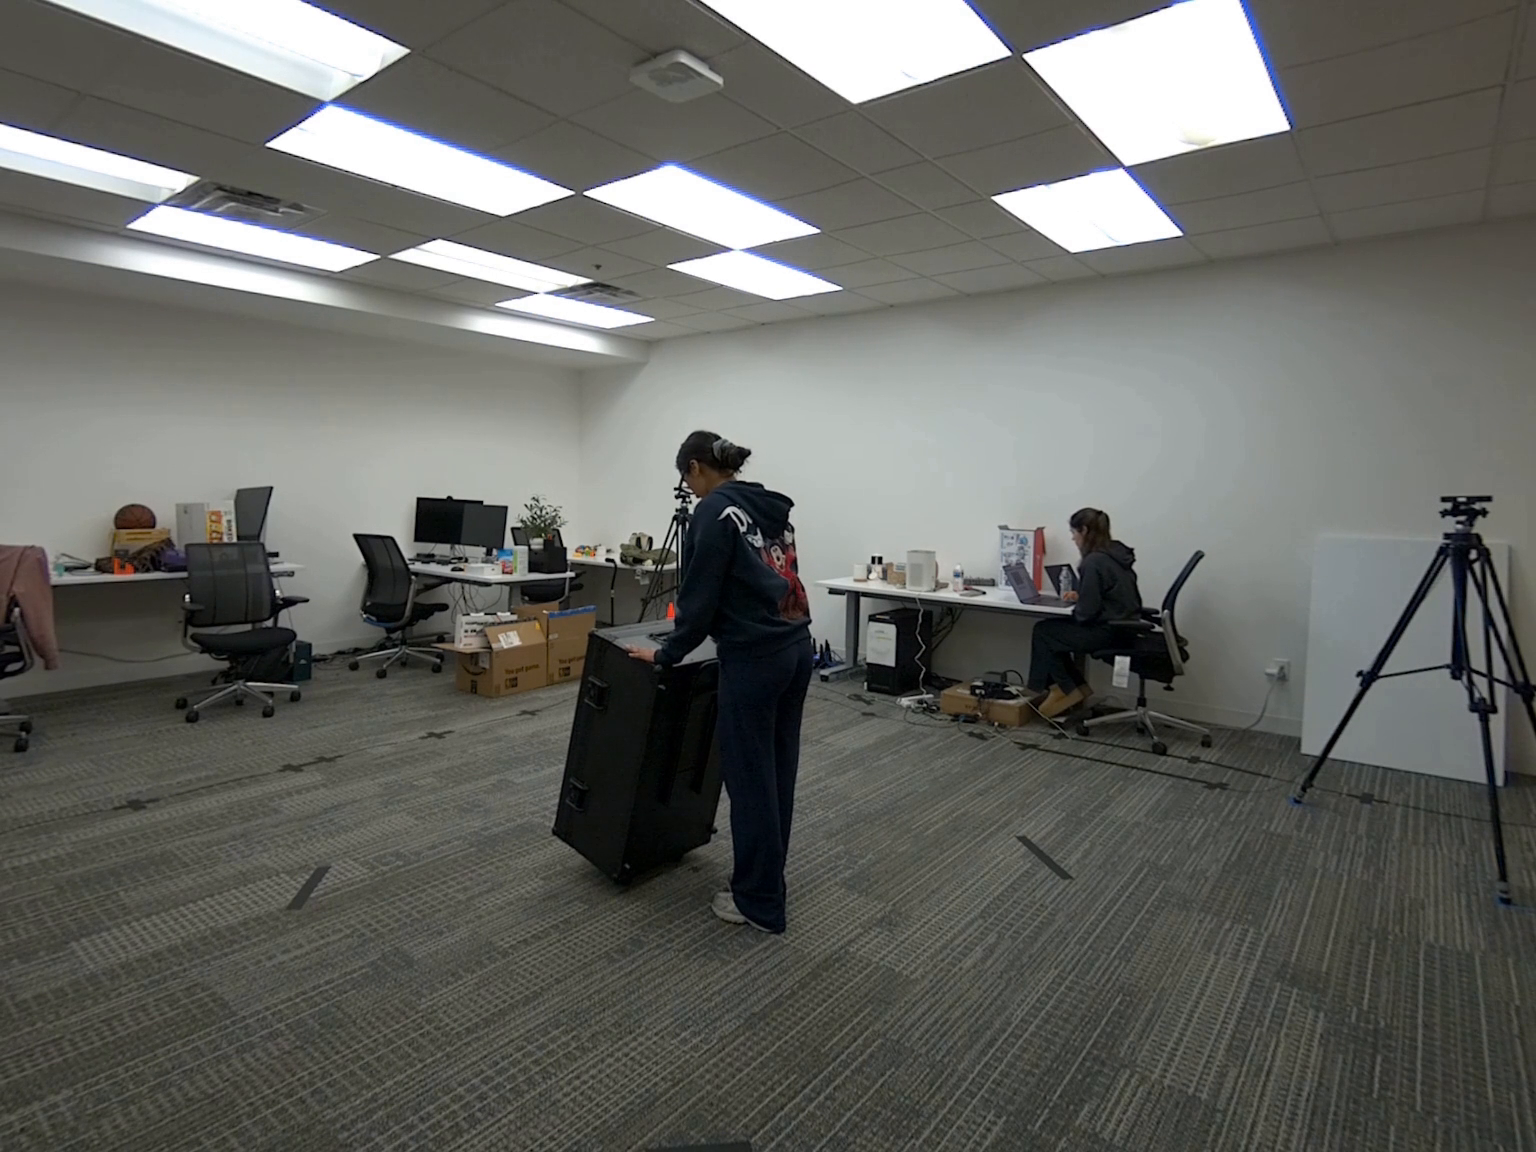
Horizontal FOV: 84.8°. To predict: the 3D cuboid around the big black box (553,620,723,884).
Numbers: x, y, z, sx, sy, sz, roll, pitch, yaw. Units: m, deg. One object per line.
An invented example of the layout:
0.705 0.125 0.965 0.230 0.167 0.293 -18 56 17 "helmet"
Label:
-0.425 0.629 3.069 0.412 0.854 0.506 21 14 35 "big black box"
